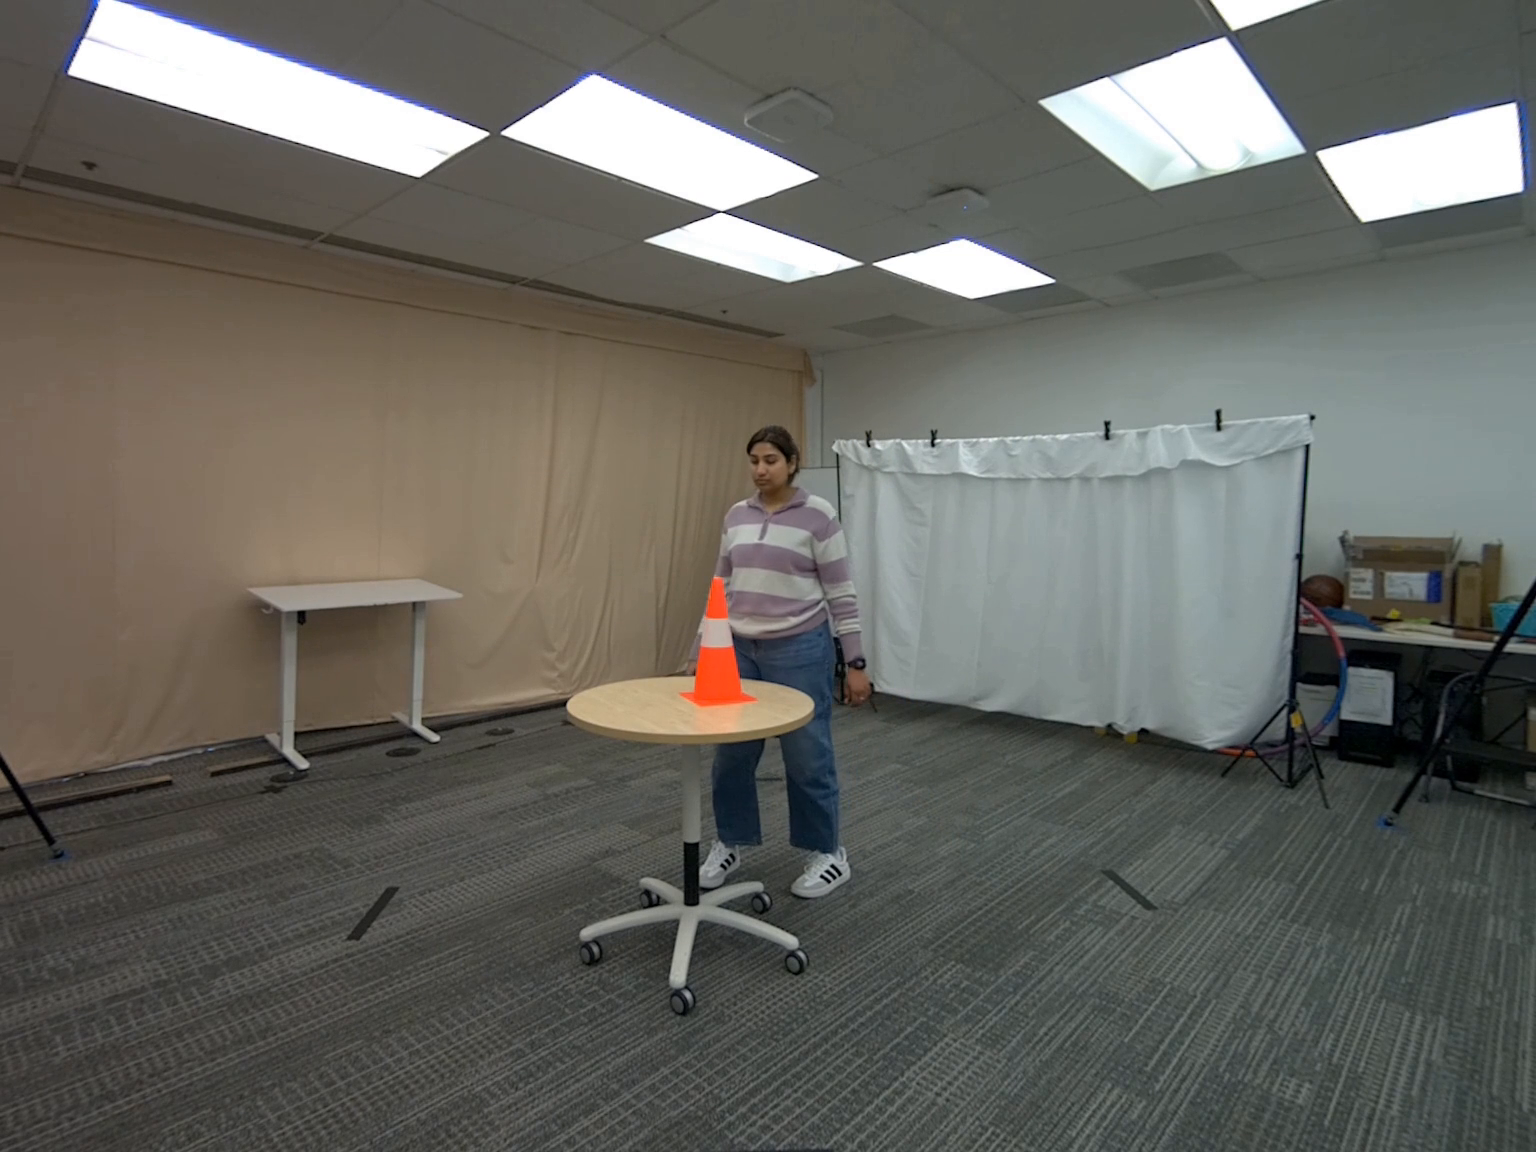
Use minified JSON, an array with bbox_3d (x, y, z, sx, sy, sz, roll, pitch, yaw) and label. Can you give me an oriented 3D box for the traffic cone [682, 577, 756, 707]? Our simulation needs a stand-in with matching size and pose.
[{"bbox_3d":[-0.164,0.198,2.679,0.197,0.383,0.211,-2,1,-37],"label":"traffic cone"}]
